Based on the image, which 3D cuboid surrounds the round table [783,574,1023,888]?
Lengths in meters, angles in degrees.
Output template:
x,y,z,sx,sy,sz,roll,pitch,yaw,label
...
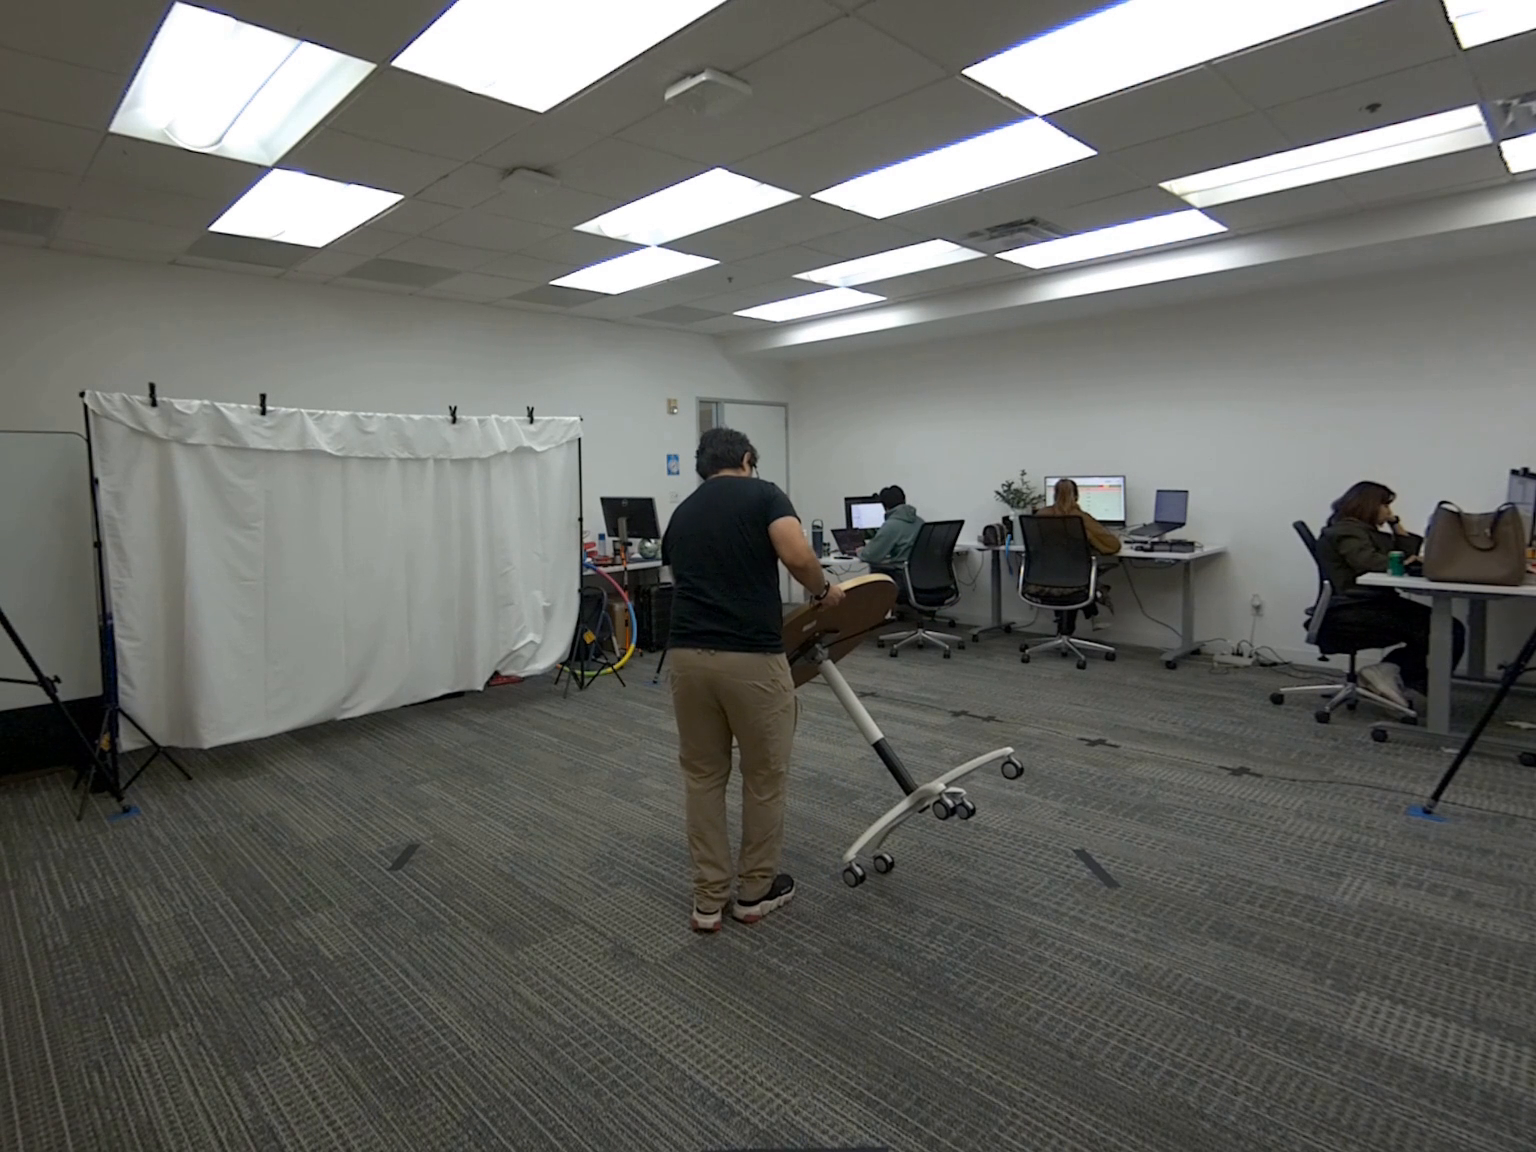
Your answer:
x,y,z,sx,sy,sz,roll,pitch,yaw,label
0.372,0.531,2.976,0.779,0.810,0.767,-27,-25,-16,round table
